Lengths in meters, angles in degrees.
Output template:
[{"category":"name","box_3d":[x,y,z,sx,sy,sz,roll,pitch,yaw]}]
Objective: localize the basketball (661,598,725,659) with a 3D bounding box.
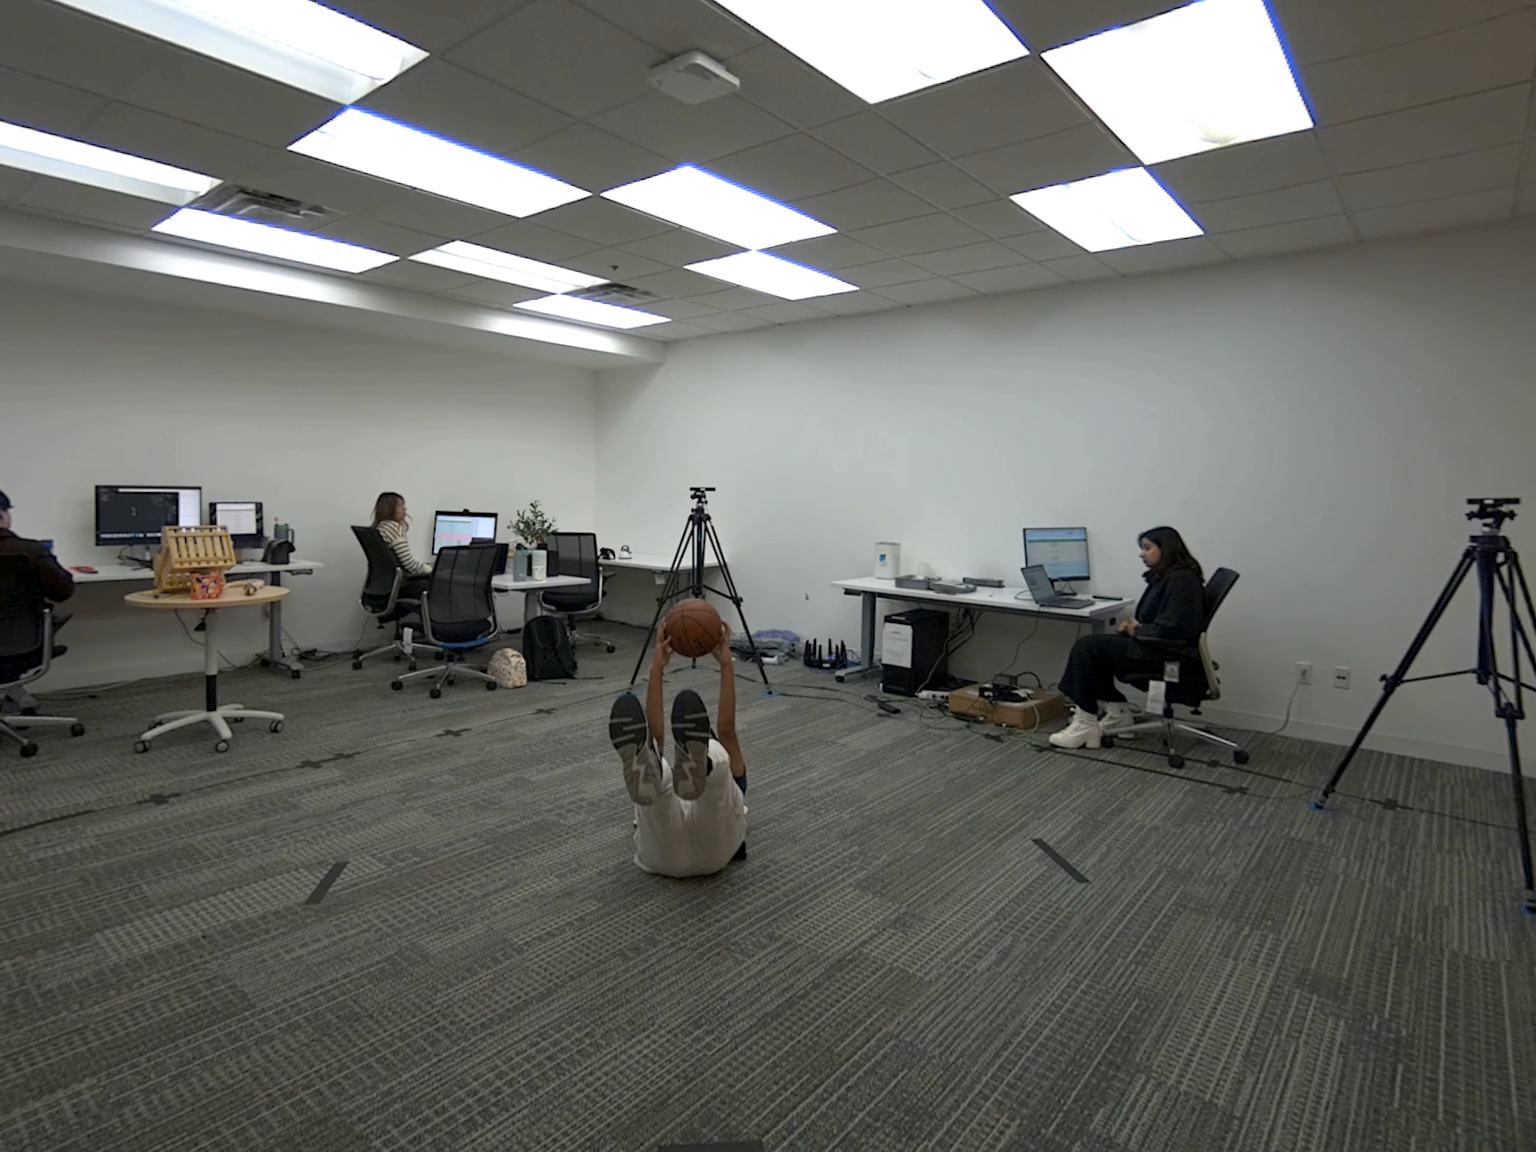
[{"category":"basketball","box_3d":[-0.317,0.211,3.450,0.235,0.235,0.237,1,4,-2]}]
